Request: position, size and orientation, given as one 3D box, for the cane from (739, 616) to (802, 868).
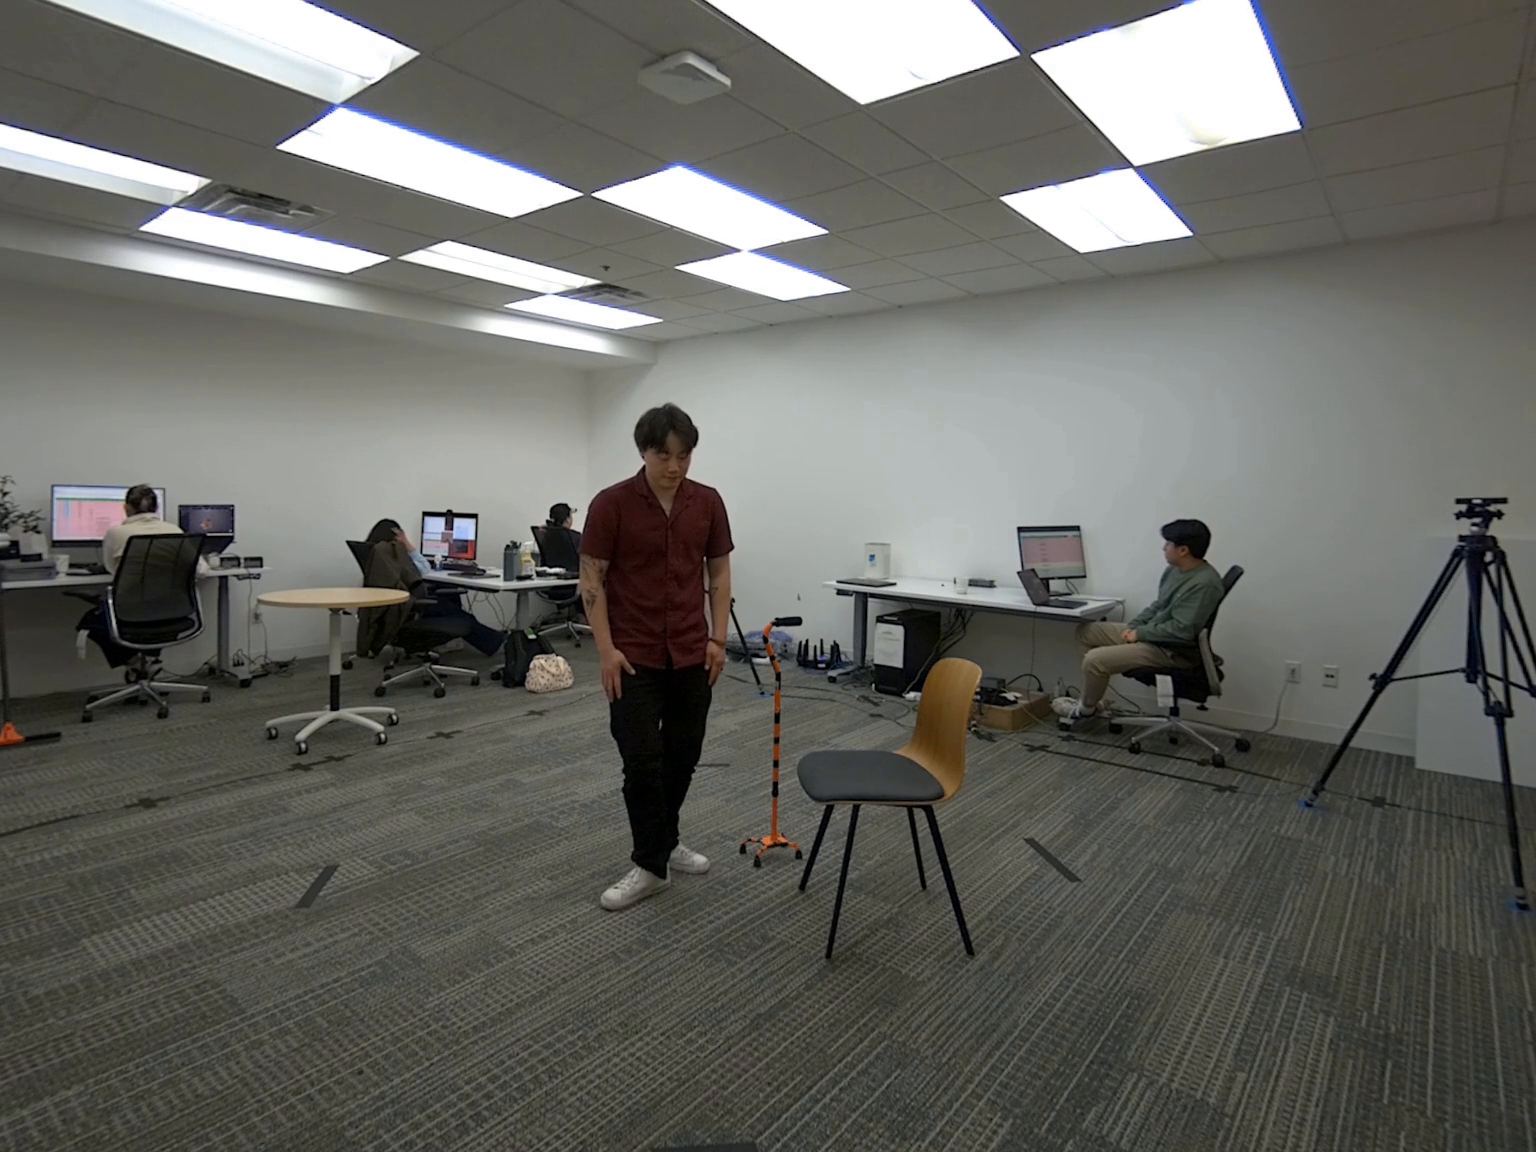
[{"bbox_3d":[0.011,0.609,3.216,0.201,0.906,0.156,0,3,-29],"label":"cane"}]
